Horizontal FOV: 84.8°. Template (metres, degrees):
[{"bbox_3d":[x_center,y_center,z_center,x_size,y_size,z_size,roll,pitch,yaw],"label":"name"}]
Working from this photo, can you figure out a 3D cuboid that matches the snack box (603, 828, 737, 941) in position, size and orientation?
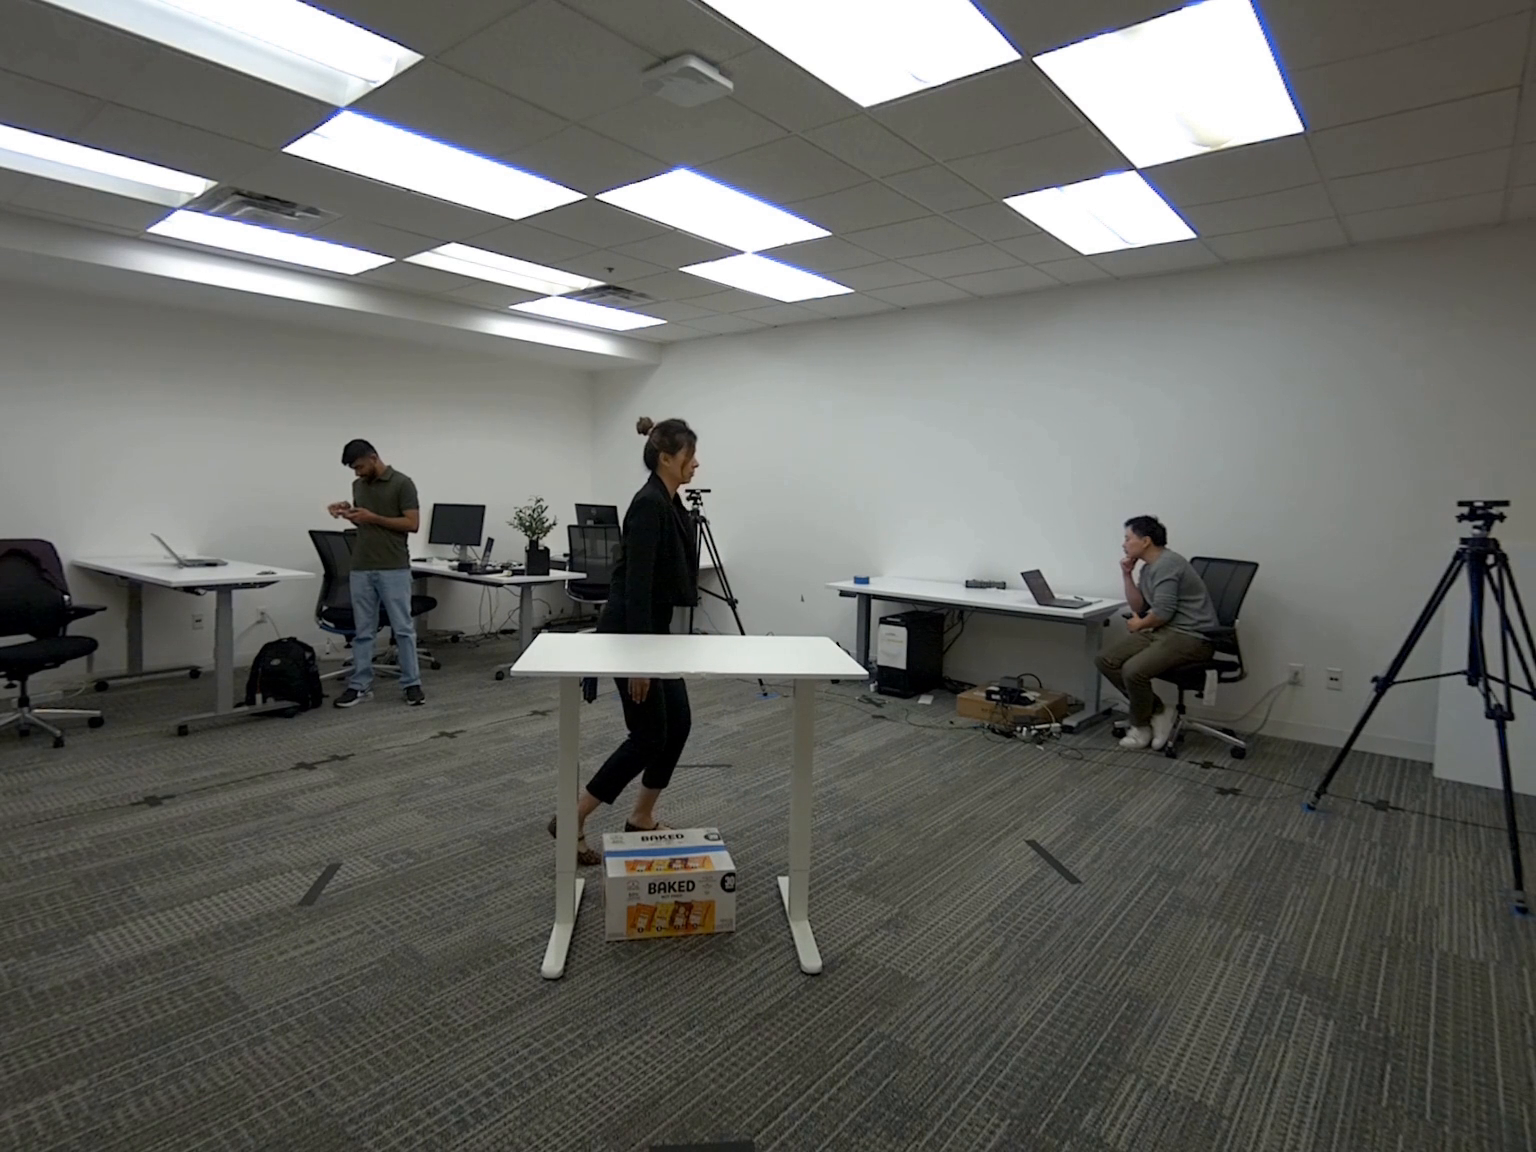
[{"bbox_3d":[-0.344,1.000,2.796,0.400,0.205,0.346,0,5,-12],"label":"snack box"}]
